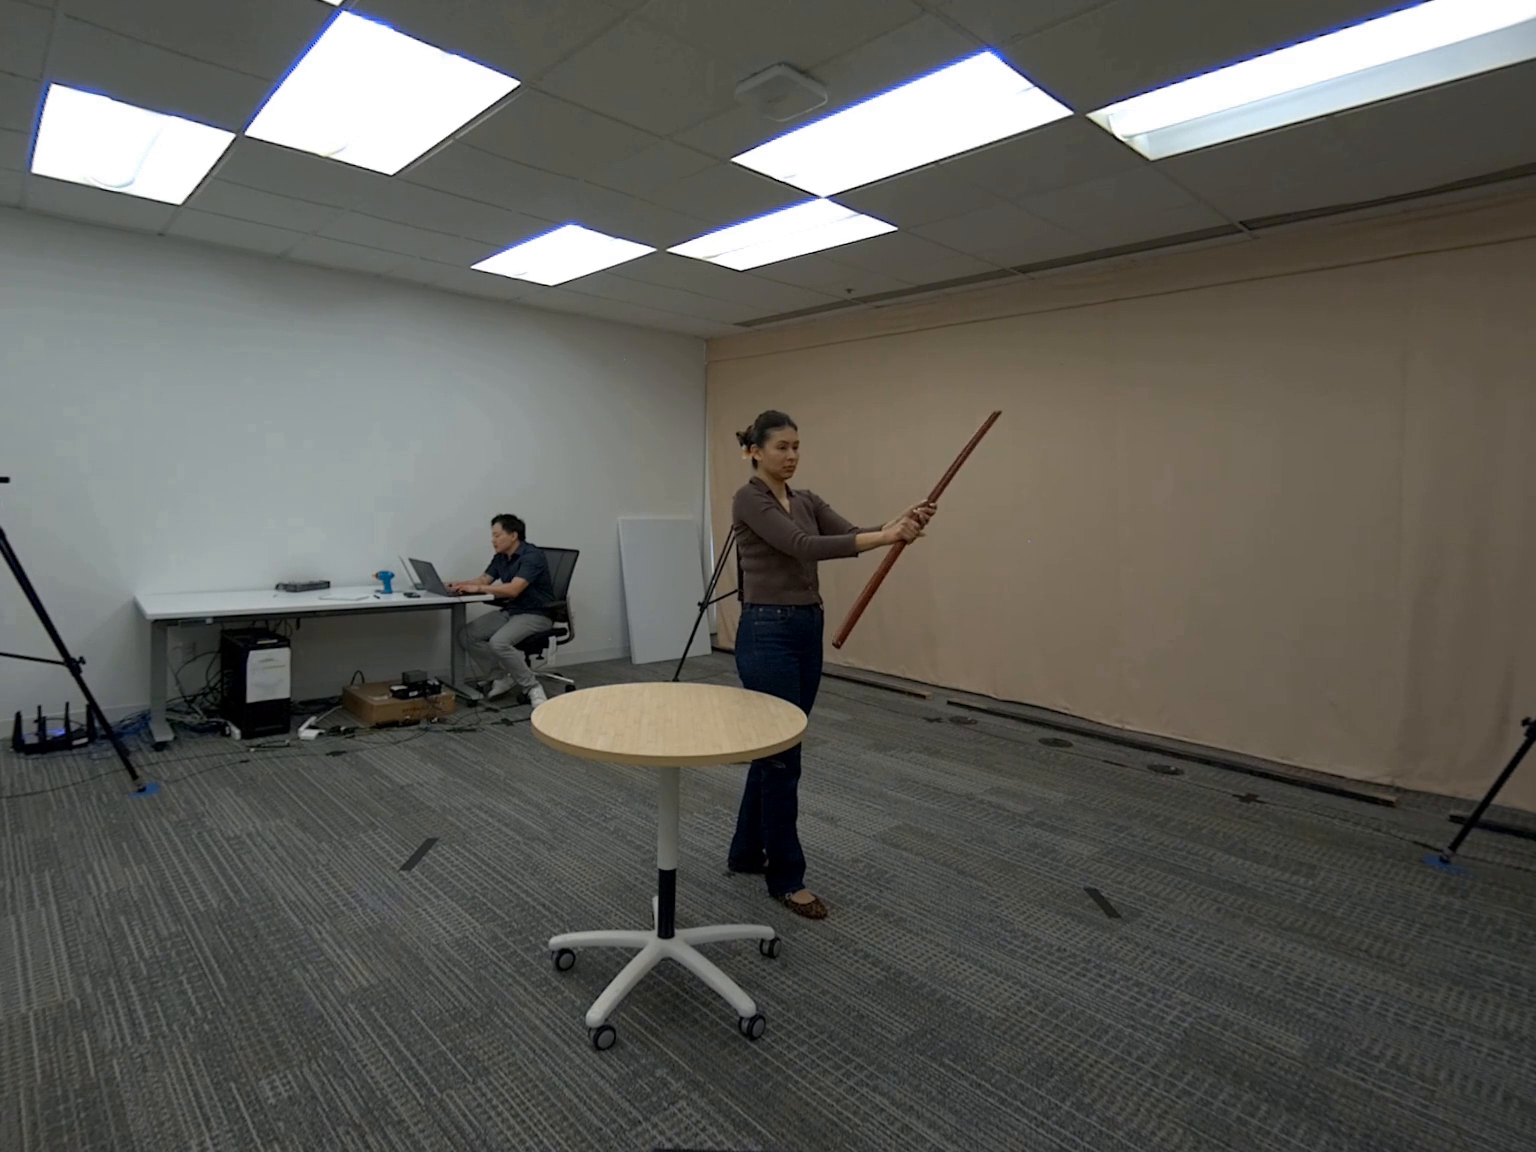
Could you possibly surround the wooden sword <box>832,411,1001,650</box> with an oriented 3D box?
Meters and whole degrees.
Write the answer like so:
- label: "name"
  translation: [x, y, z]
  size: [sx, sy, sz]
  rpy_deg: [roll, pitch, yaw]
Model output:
- label: "wooden sword"
  translation: [0.480, -0.179, 2.643]
  size: [0.050, 1.026, 0.024]
  rpy_deg: [46, -23, -23]
